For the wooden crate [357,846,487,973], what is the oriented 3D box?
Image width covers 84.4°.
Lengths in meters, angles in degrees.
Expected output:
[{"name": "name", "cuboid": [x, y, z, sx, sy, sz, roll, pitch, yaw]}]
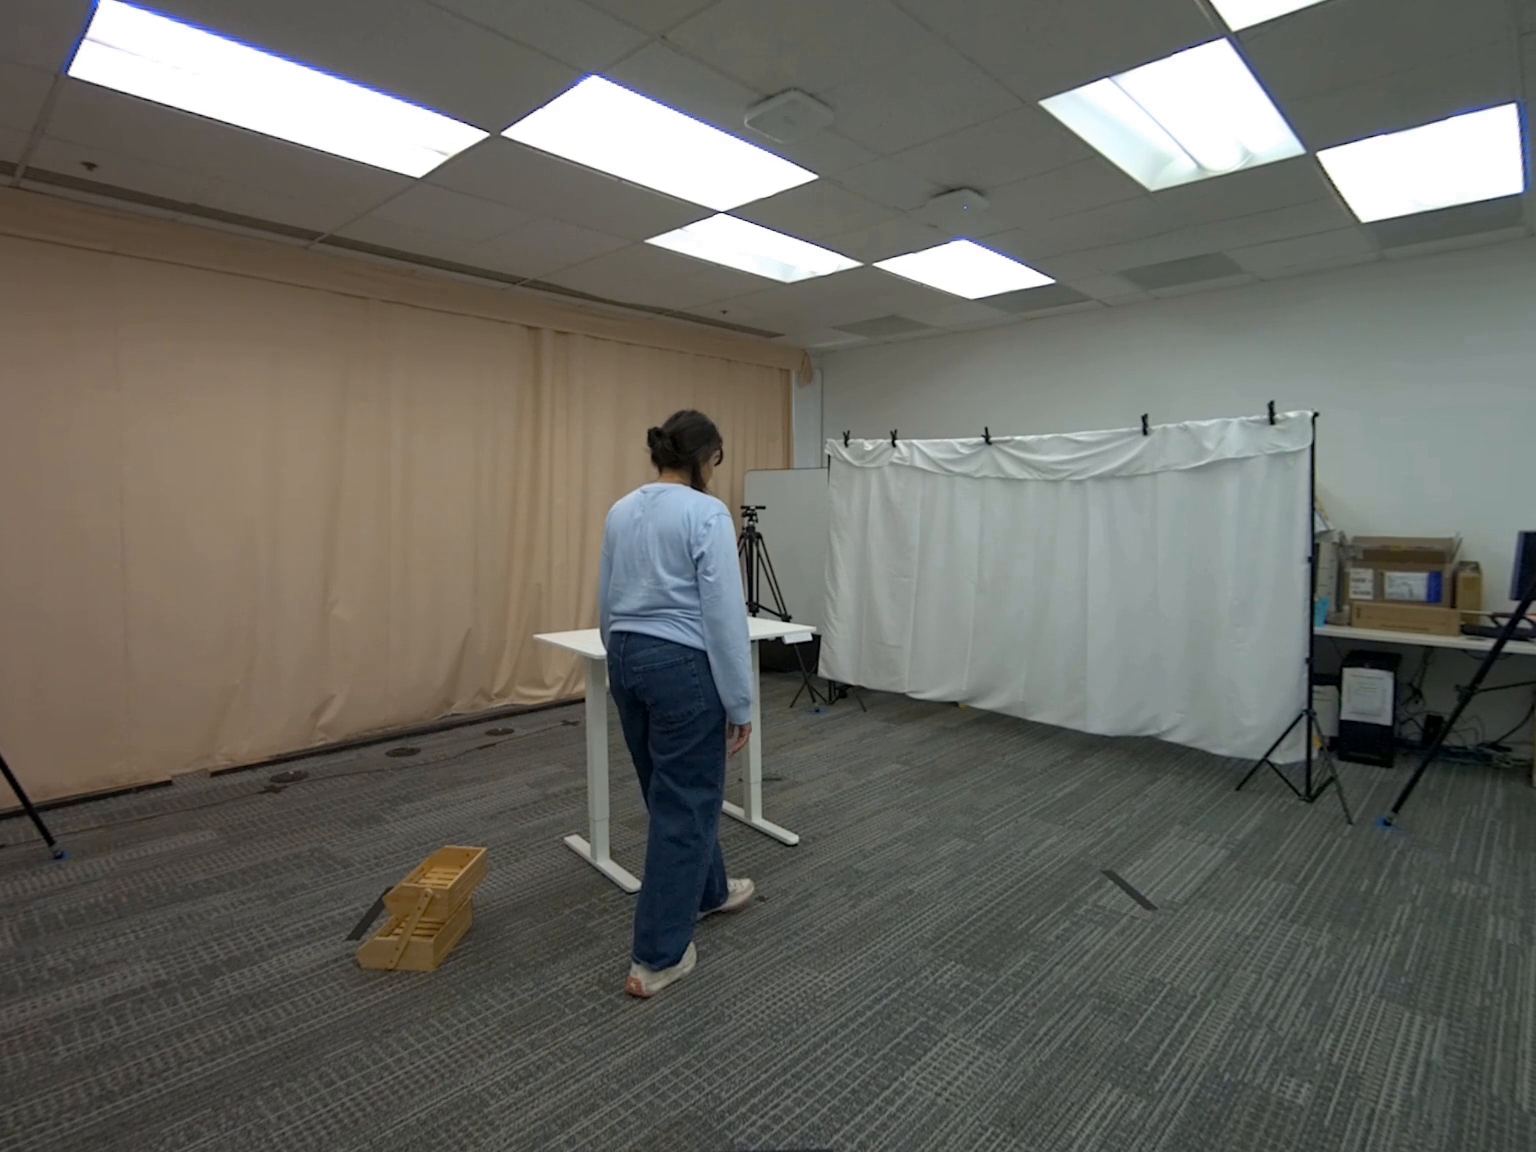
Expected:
[{"name": "wooden crate", "cuboid": [-1.103, 1.048, 2.679, 0.304, 0.273, 0.323, 1, 4, 4]}]
